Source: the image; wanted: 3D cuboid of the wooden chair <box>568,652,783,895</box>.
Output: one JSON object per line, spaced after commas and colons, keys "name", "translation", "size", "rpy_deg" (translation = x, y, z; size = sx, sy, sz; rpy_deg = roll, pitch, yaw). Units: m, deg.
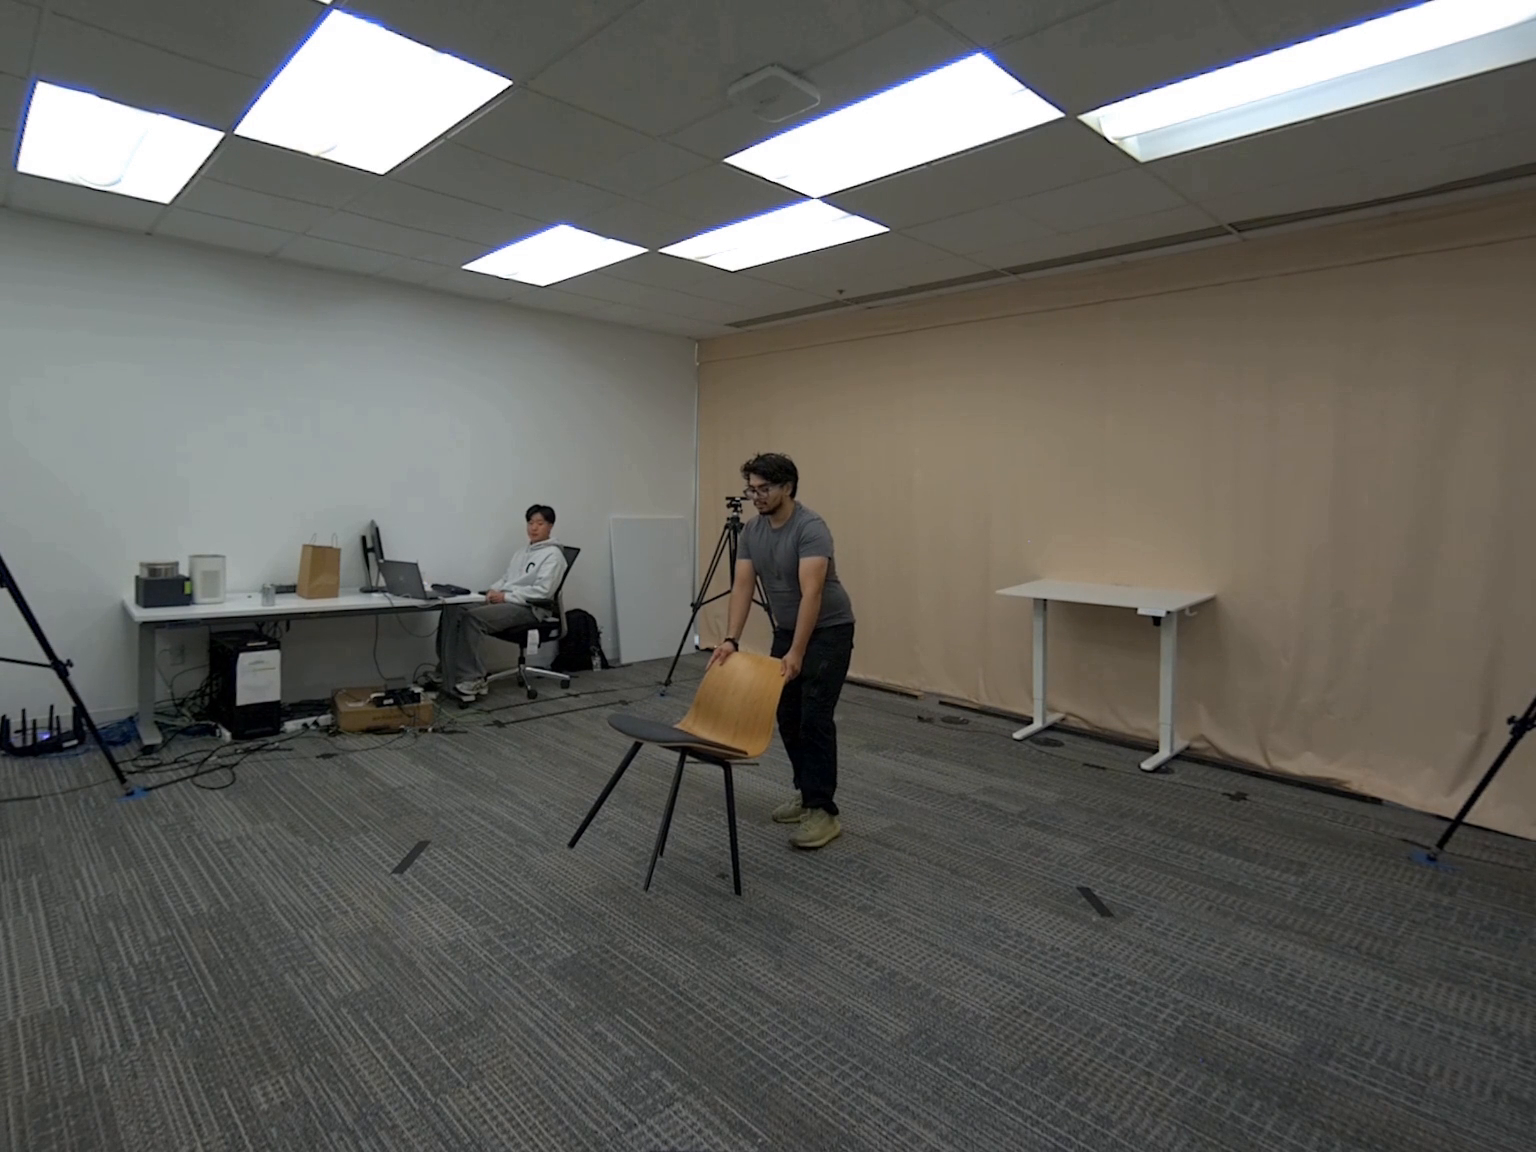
{"name": "wooden chair", "translation": [-0.303, 0.630, 3.017], "size": [0.490, 0.882, 0.507], "rpy_deg": [5, -18, 45]}
